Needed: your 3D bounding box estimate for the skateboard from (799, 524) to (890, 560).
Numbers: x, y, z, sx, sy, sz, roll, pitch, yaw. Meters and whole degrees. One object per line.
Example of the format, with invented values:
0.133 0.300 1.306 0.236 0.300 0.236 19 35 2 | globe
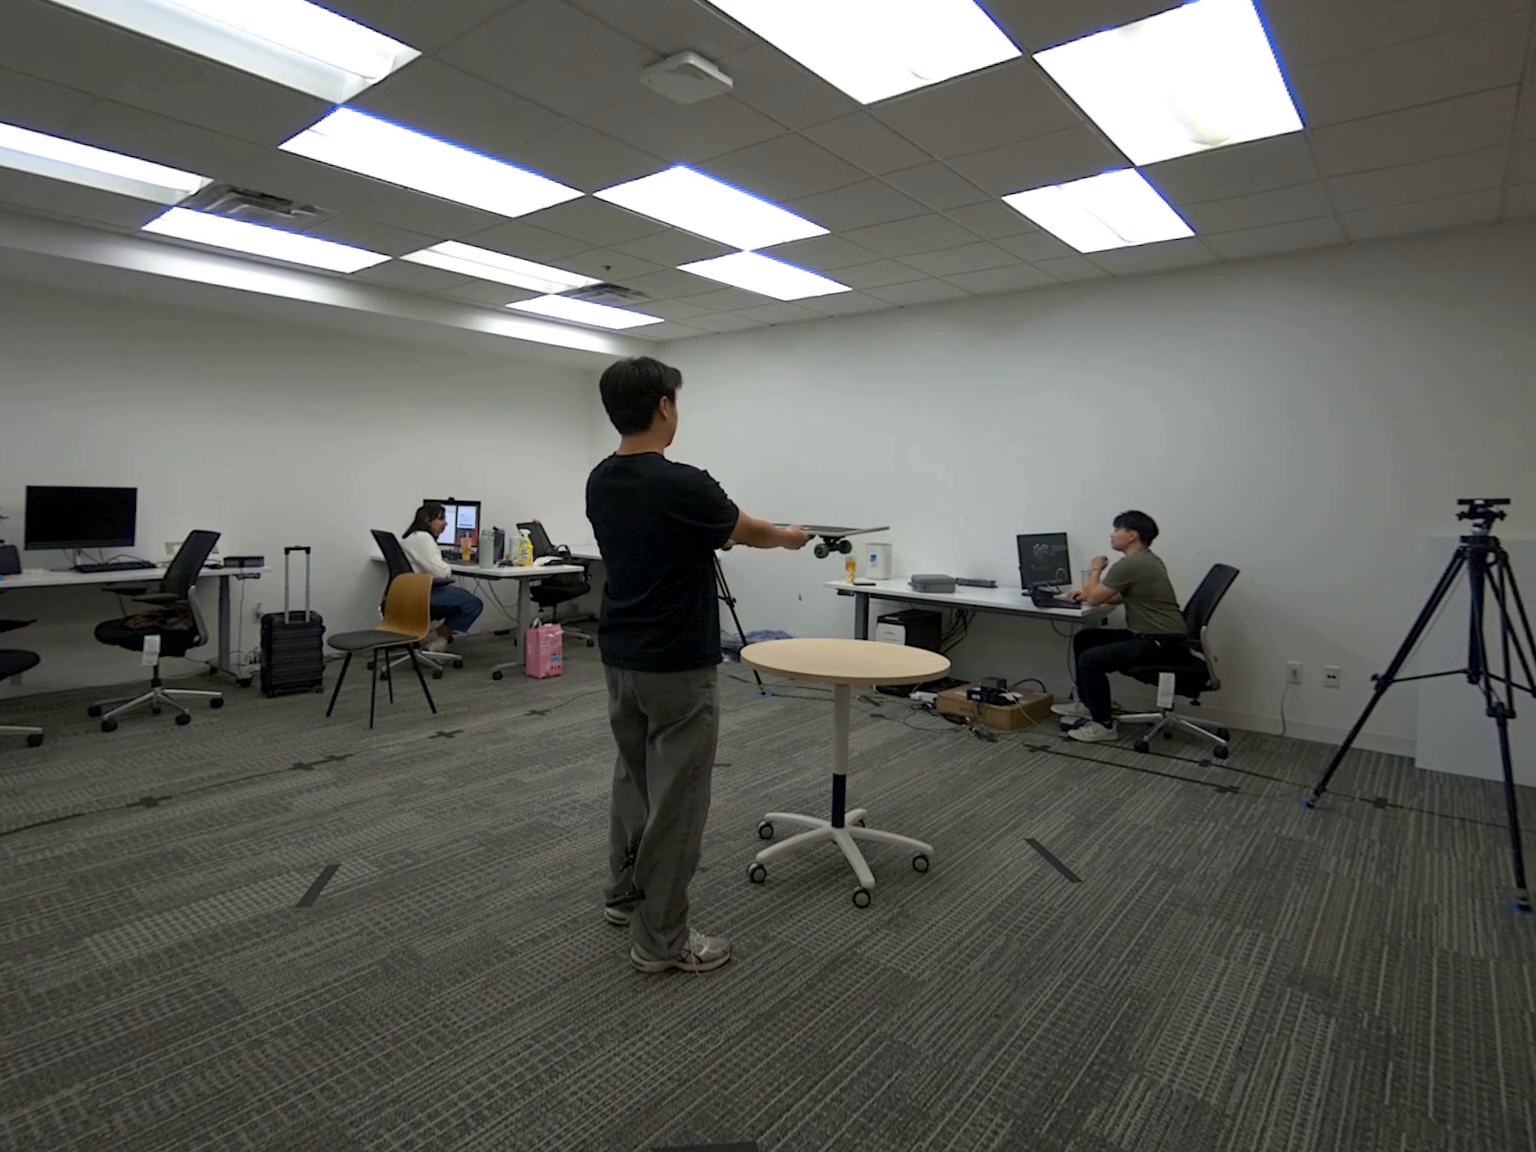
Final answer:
0.048 -0.139 2.966 0.812 0.109 0.188 7 12 40 | skateboard
